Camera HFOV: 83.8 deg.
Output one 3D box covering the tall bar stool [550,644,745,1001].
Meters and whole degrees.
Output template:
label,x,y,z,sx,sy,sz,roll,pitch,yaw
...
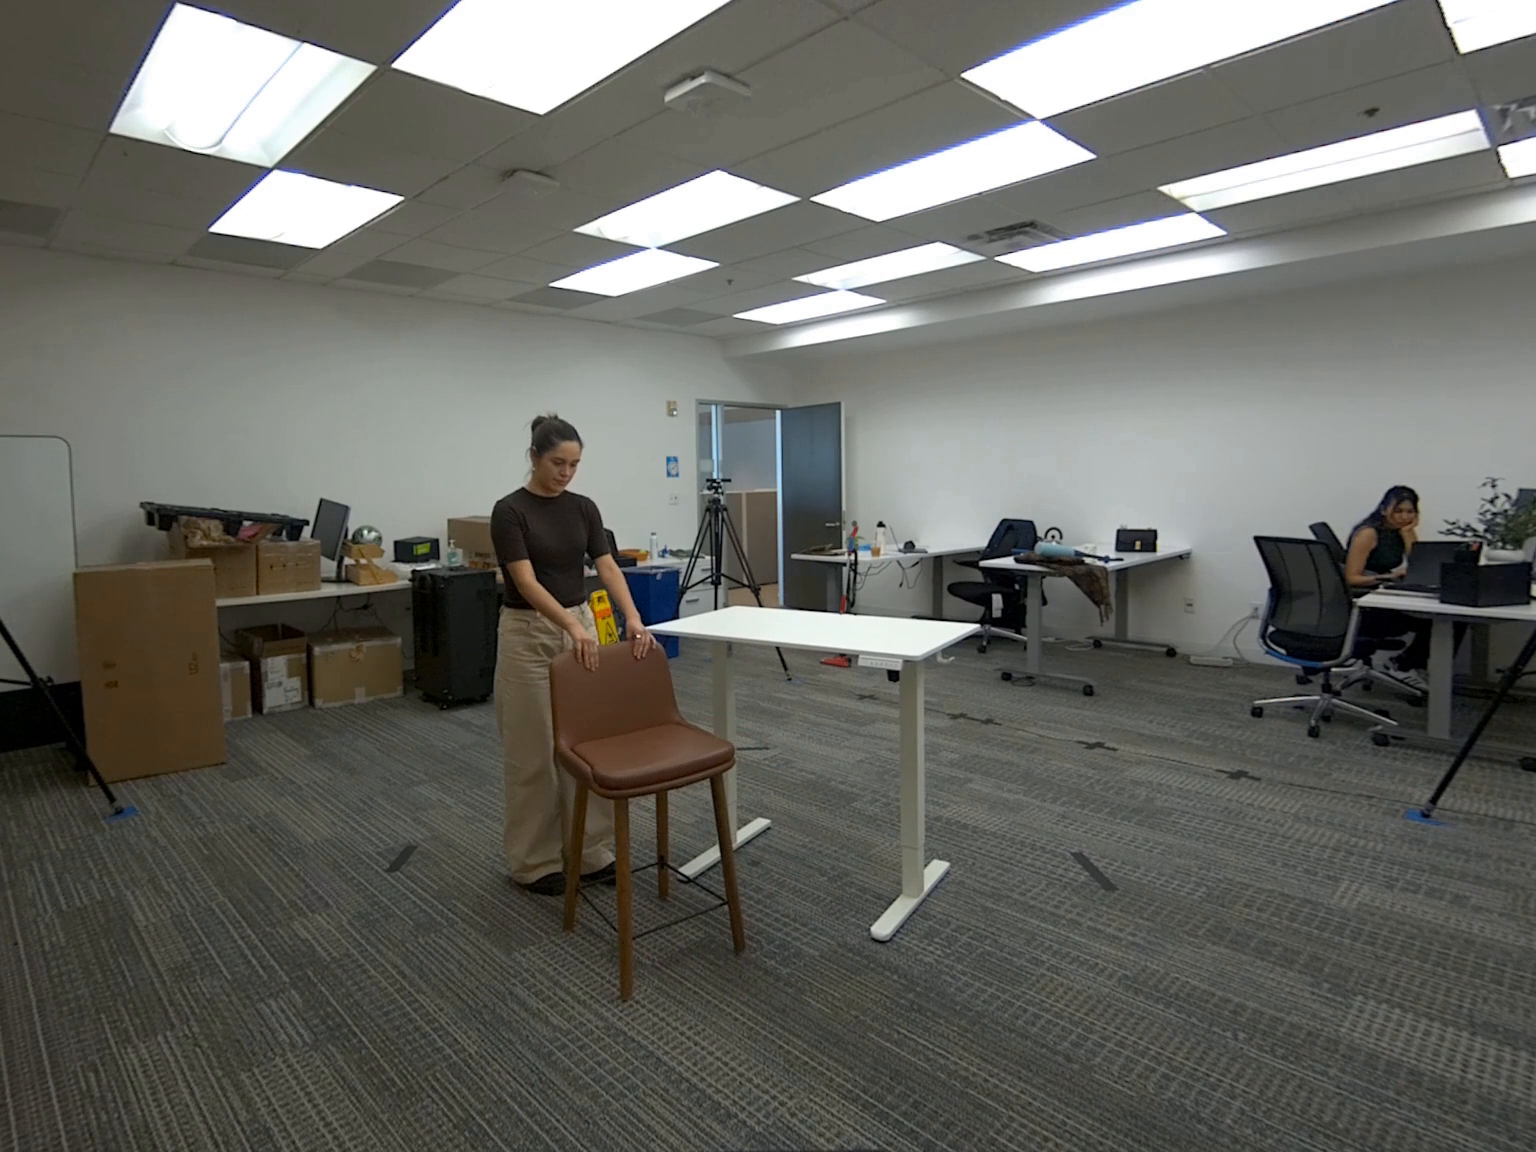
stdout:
label,x,y,z,sx,sy,sz,roll,pitch,yaw
tall bar stool,-0.373,0.674,2.573,0.445,0.888,0.480,-4,3,-36
